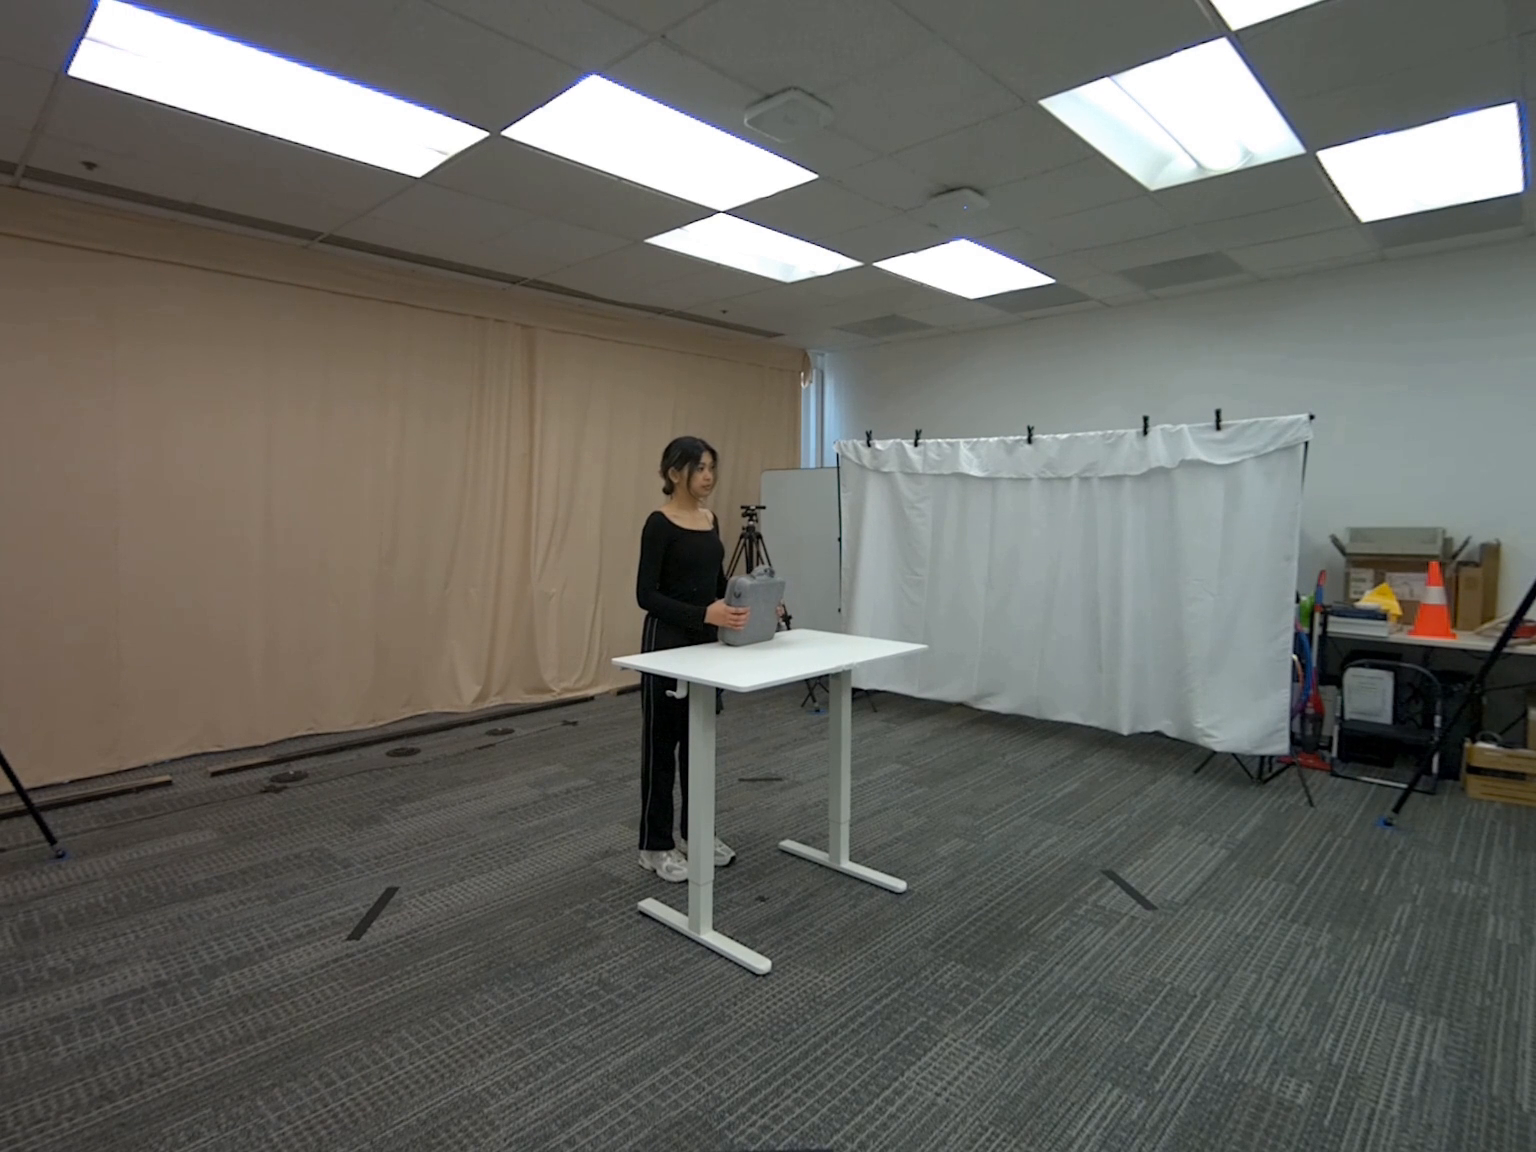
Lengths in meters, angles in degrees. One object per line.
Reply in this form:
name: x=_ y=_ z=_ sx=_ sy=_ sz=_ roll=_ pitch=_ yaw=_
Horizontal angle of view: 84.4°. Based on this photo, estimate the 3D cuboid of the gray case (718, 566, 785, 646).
gray case: x=-0.053 y=0.120 z=3.116 sx=0.108 sy=0.259 sz=0.249 roll=19 pitch=15 yaw=36
